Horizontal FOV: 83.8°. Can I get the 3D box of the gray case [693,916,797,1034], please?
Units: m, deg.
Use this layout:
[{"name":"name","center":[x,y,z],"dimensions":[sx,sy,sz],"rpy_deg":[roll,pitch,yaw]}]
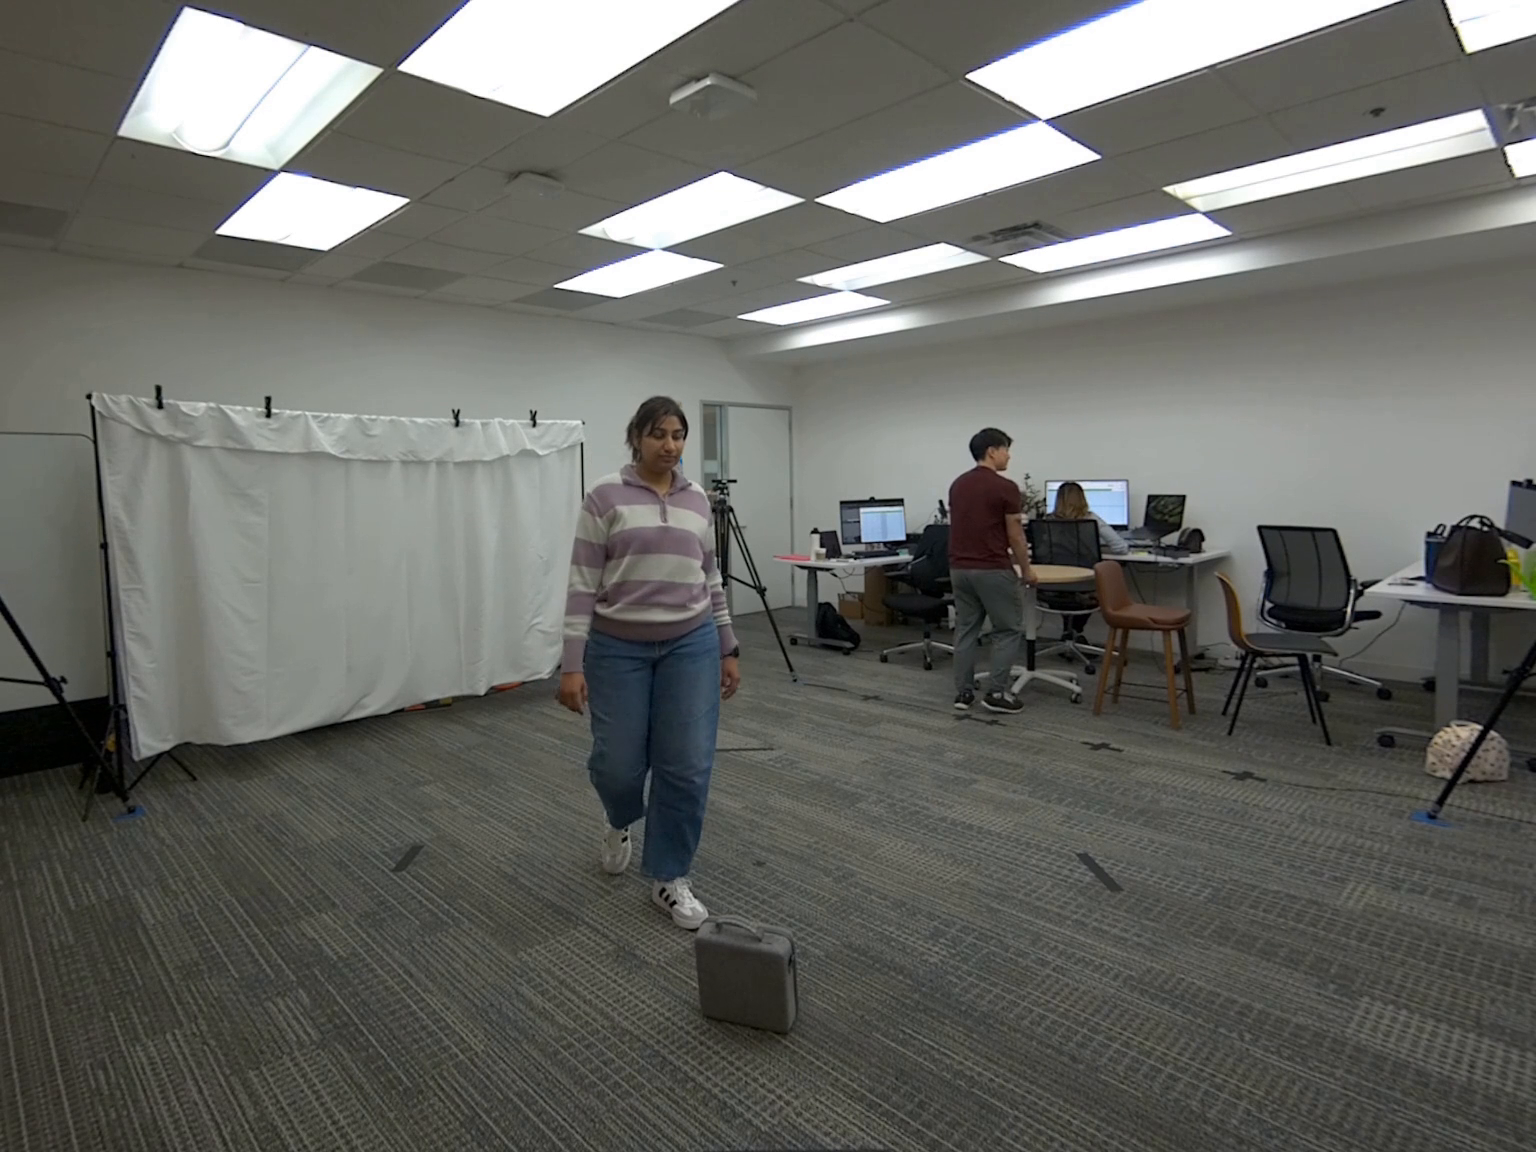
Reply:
[{"name":"gray case","center":[-0.045,1.014,2.207],"dimensions":[0.262,0.258,0.103],"rpy_deg":[-1,10,21]}]
